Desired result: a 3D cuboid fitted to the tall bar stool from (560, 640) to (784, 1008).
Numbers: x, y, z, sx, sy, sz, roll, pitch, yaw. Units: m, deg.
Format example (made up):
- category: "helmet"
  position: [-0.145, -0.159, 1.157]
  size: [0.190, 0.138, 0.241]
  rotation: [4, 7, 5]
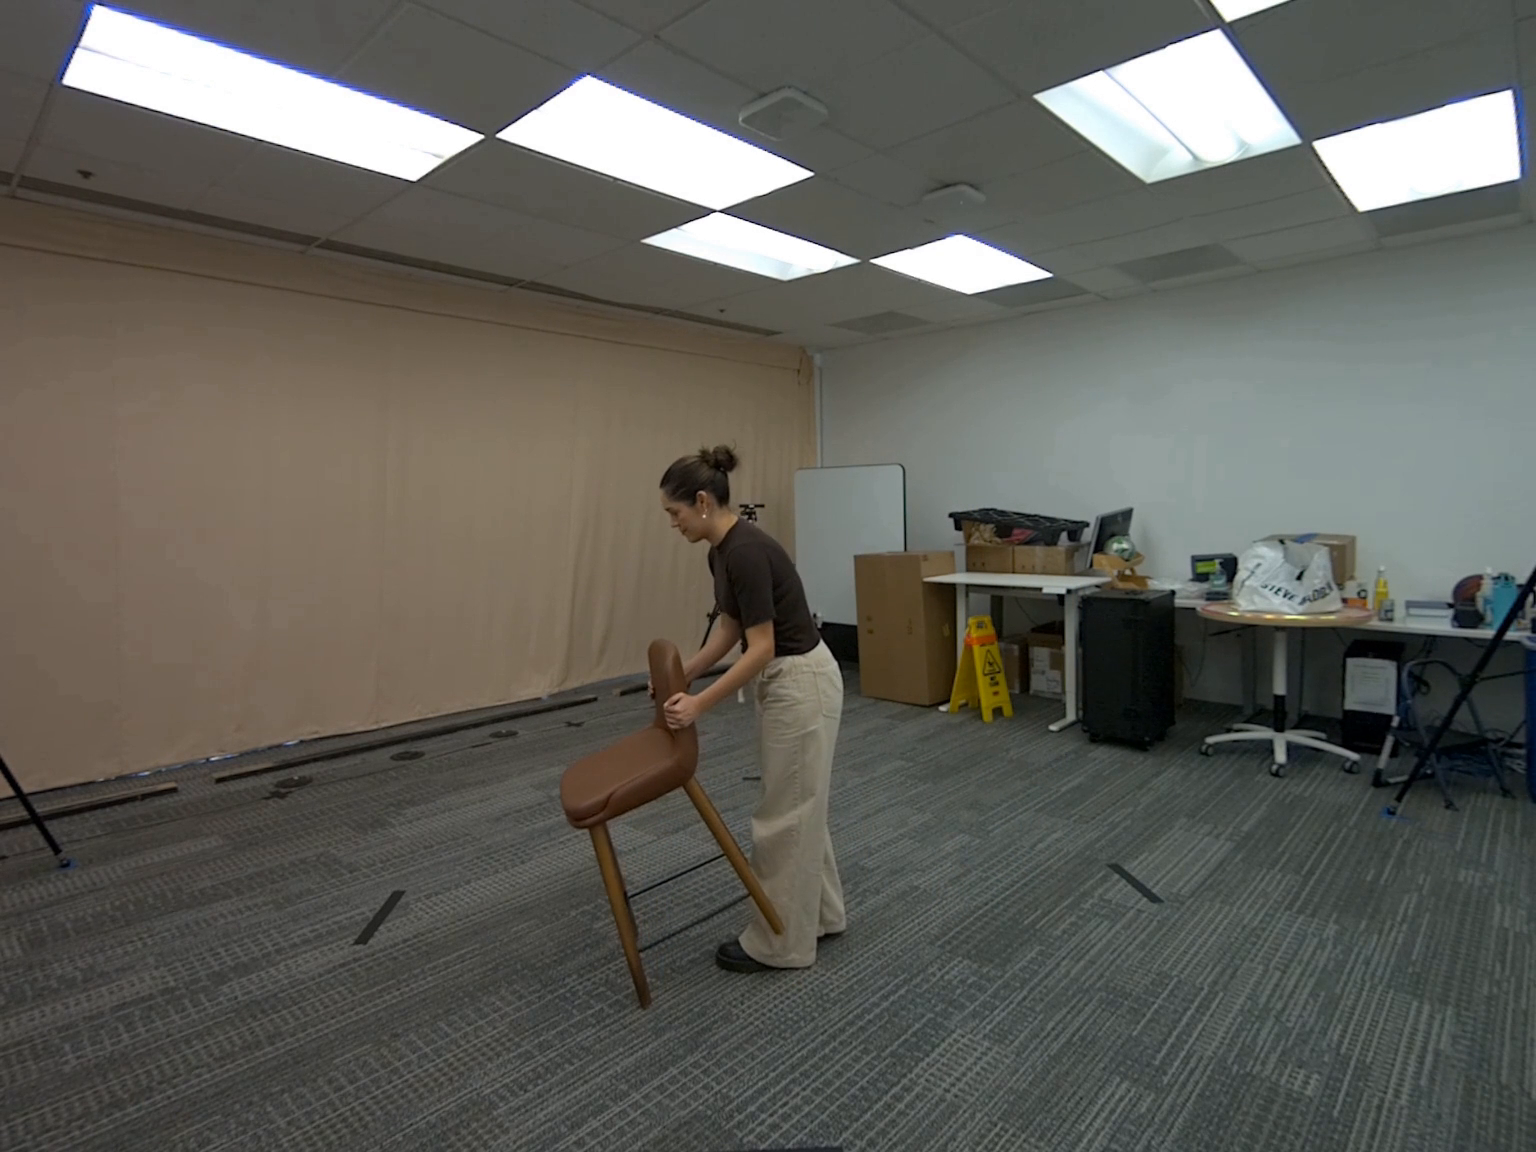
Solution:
- category: "tall bar stool"
  position: [-0.348, 0.703, 2.512]
  size: [0.463, 0.884, 0.464]
  rotation: [-21, 7, -12]
